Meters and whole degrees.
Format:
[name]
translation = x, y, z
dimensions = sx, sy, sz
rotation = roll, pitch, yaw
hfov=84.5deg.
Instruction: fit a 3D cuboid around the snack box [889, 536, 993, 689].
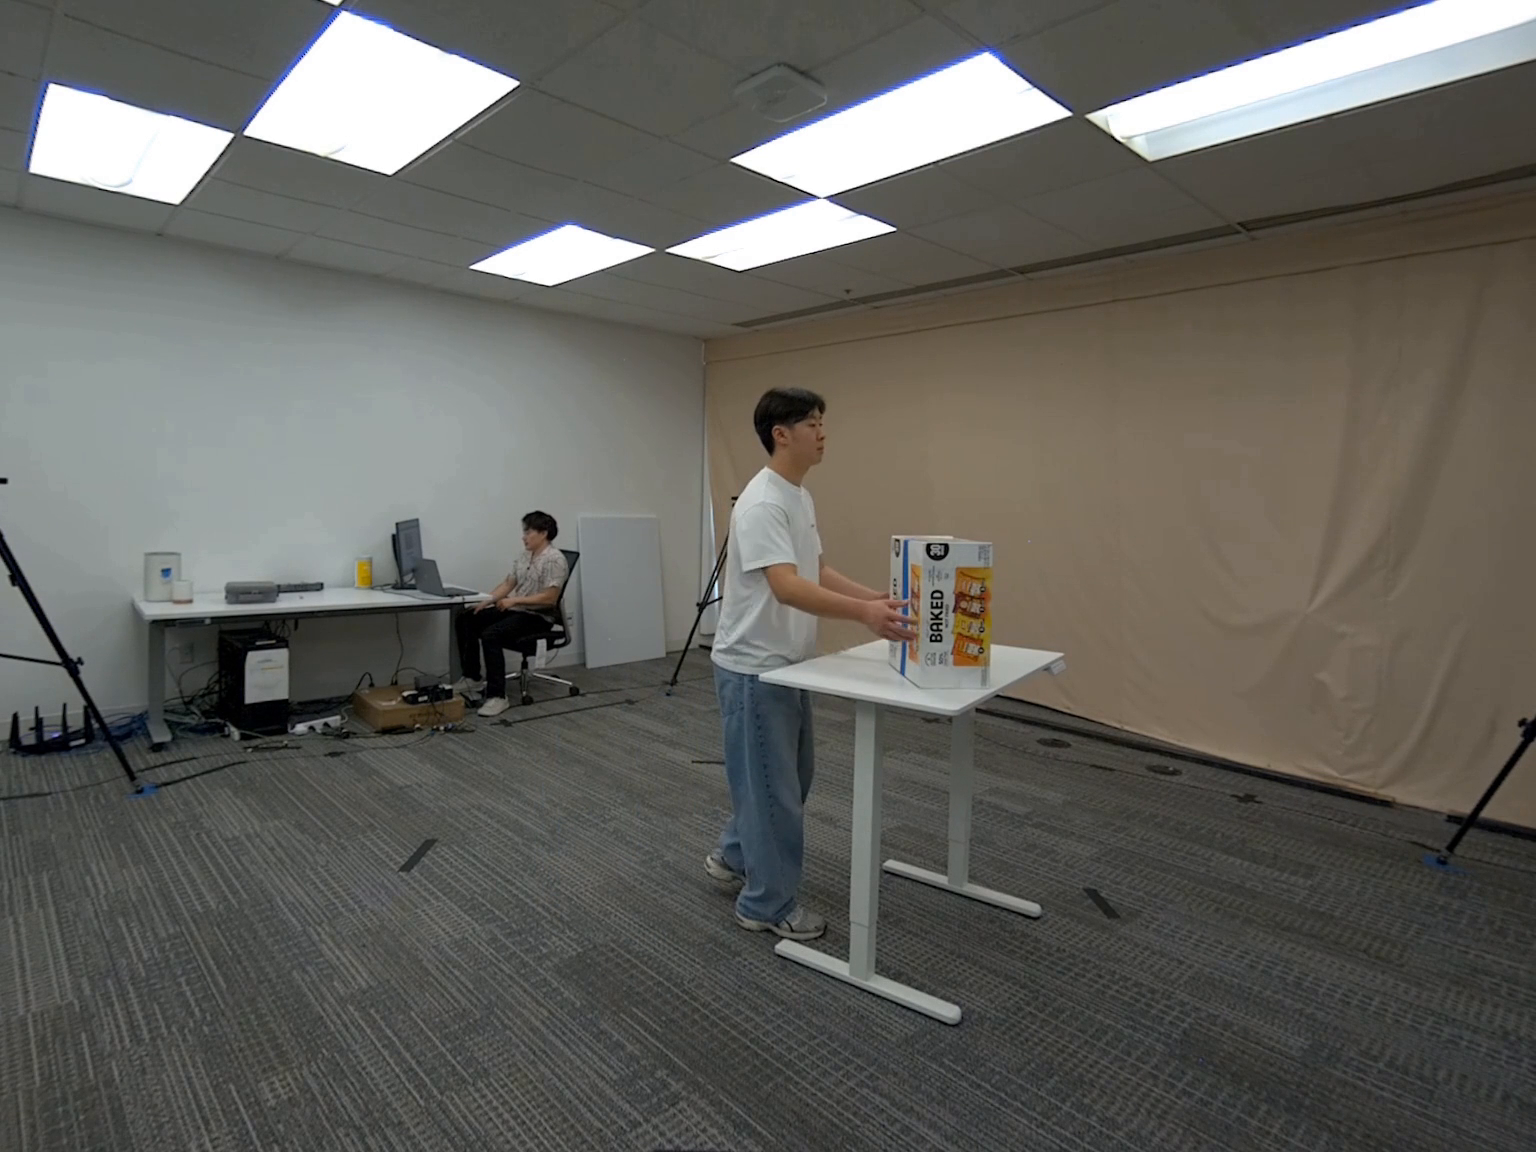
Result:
[snack box]
translation = 0.495, 0.091, 2.484
dimensions = 0.205, 0.404, 0.342
rotation = 1, 3, -5
